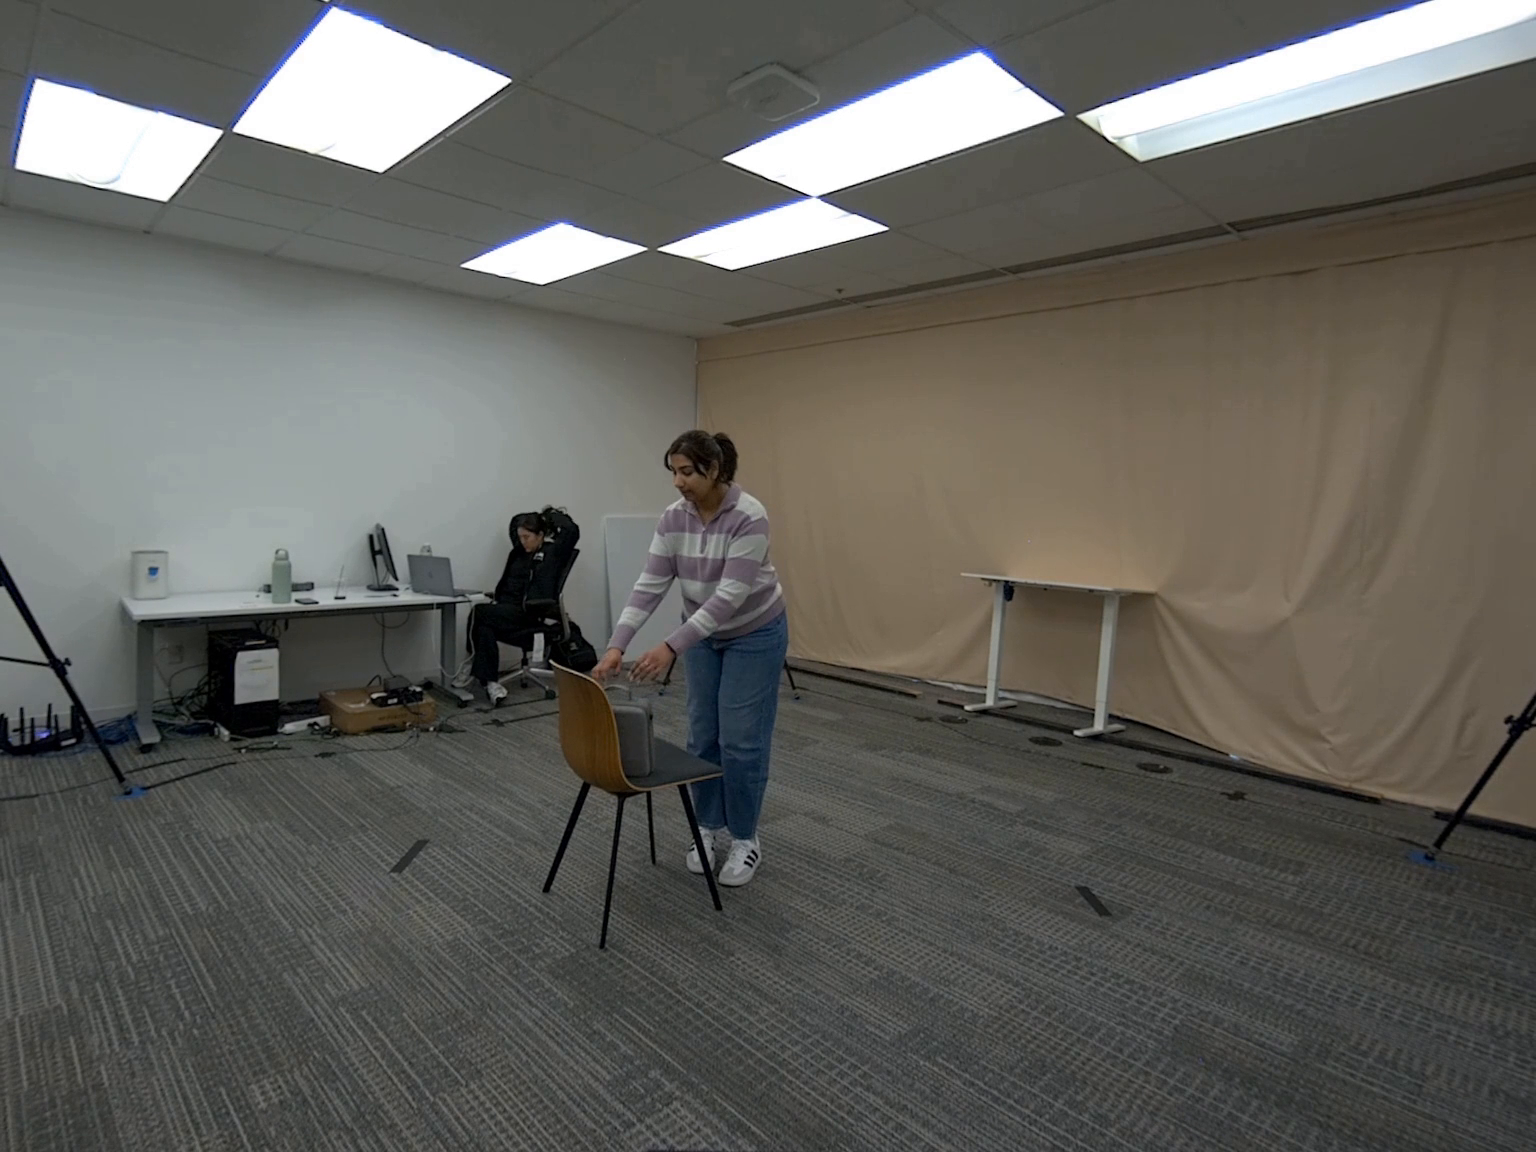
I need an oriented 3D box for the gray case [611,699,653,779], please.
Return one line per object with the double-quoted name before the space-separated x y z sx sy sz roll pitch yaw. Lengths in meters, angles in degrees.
"gray case" -0.512 0.525 2.749 0.259 0.258 0.104 2 13 11
